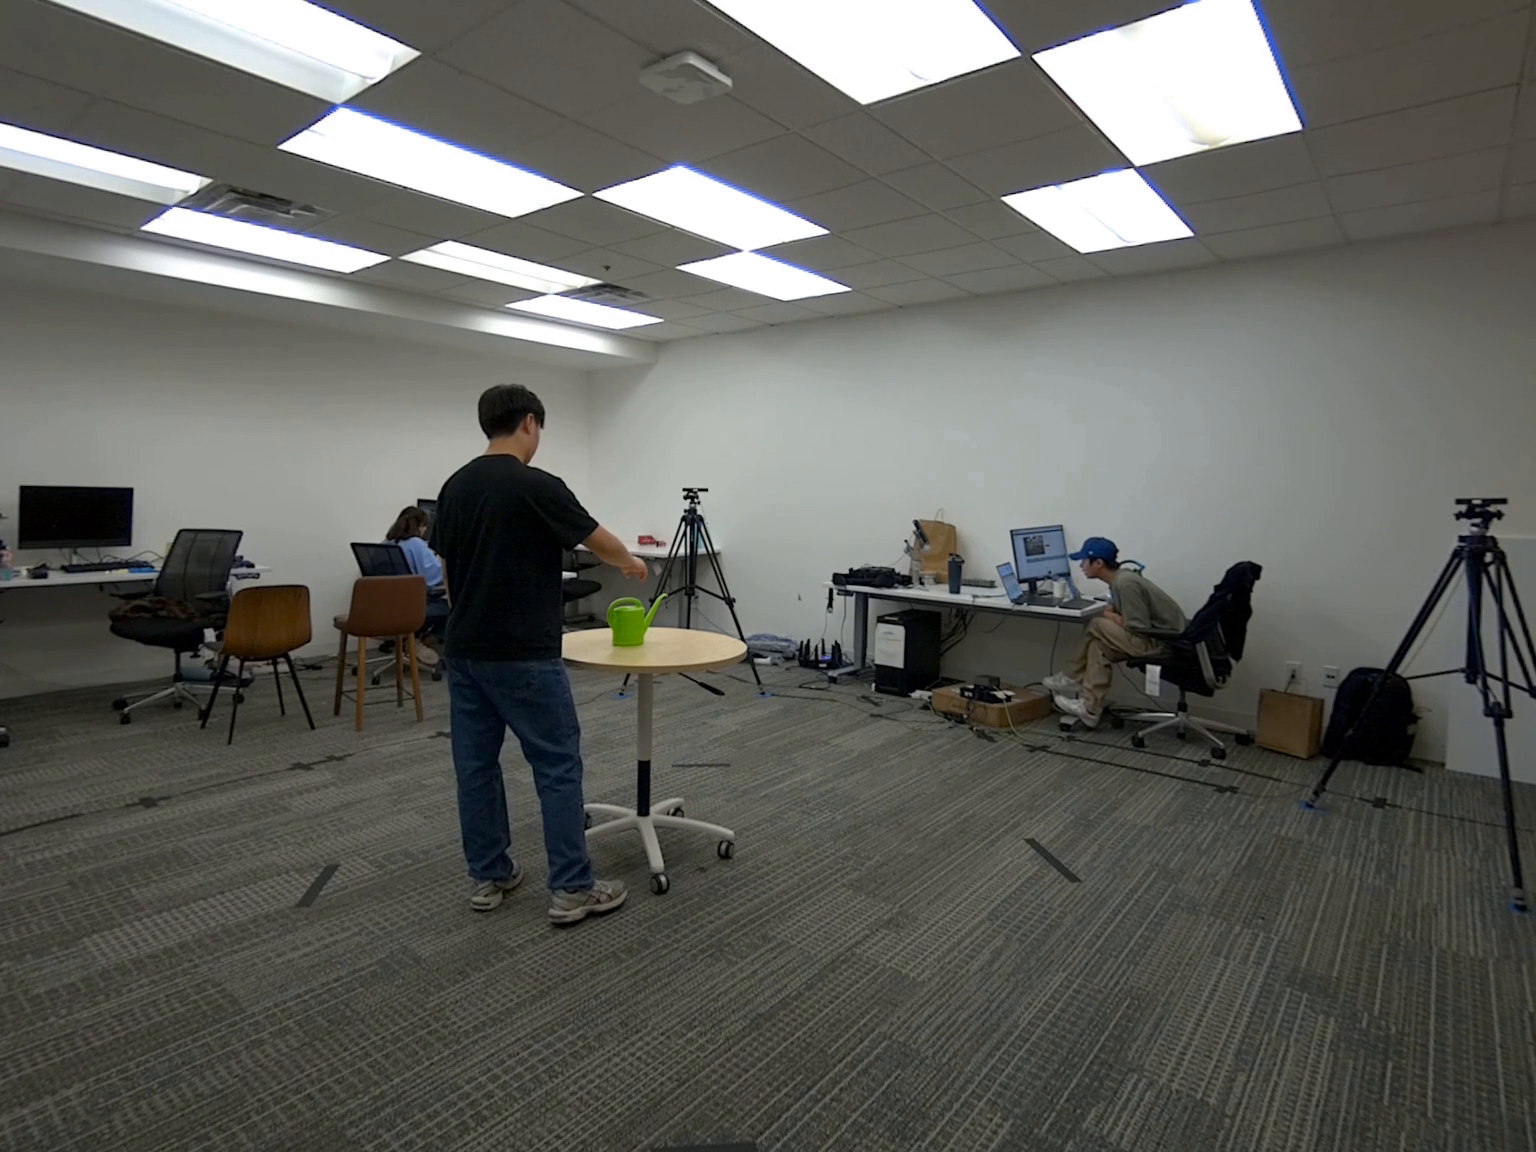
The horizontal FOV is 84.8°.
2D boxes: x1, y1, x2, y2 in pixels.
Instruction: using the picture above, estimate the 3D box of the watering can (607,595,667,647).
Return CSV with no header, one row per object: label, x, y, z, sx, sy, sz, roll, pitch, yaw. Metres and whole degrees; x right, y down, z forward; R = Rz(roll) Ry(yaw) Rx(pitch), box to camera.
watering can,-0.501,0.166,3.245,0.271,0.176,0.101,-3,7,-29
